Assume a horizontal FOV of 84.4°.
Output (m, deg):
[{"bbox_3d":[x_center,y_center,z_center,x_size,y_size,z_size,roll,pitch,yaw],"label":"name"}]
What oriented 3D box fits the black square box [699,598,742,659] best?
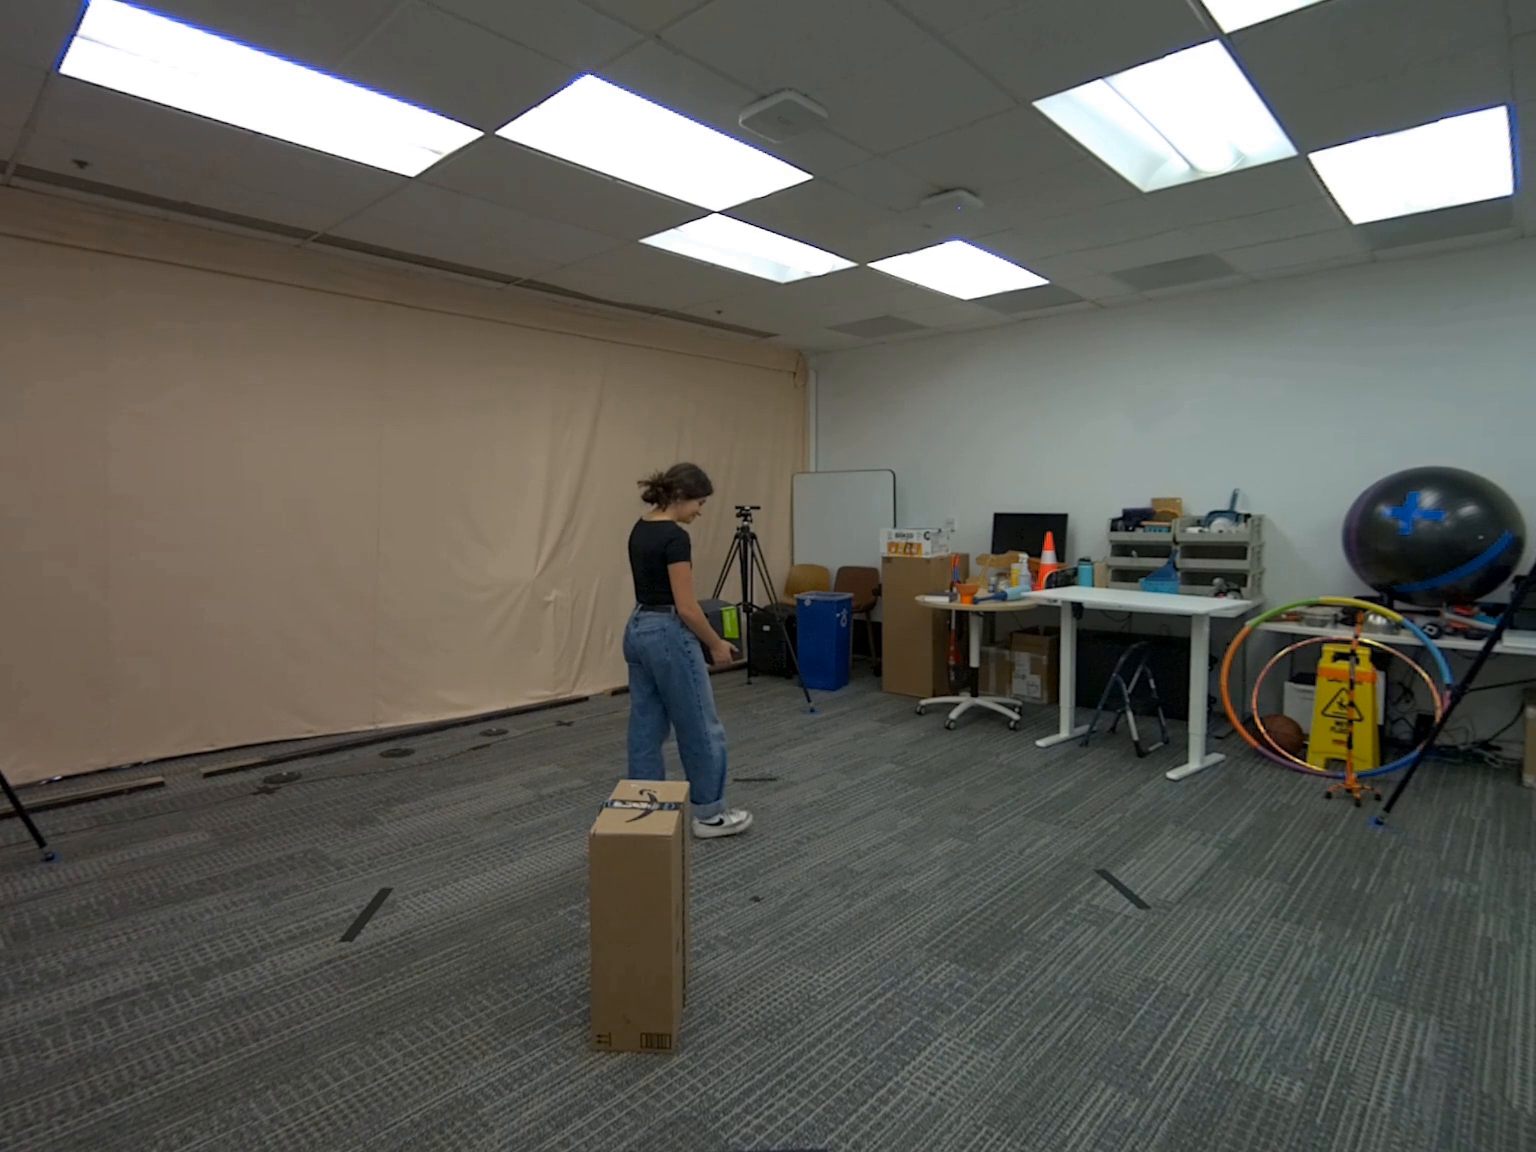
[{"bbox_3d":[-0.225,0.233,3.574,0.152,0.226,0.223,-8,12,-27],"label":"black square box"}]
